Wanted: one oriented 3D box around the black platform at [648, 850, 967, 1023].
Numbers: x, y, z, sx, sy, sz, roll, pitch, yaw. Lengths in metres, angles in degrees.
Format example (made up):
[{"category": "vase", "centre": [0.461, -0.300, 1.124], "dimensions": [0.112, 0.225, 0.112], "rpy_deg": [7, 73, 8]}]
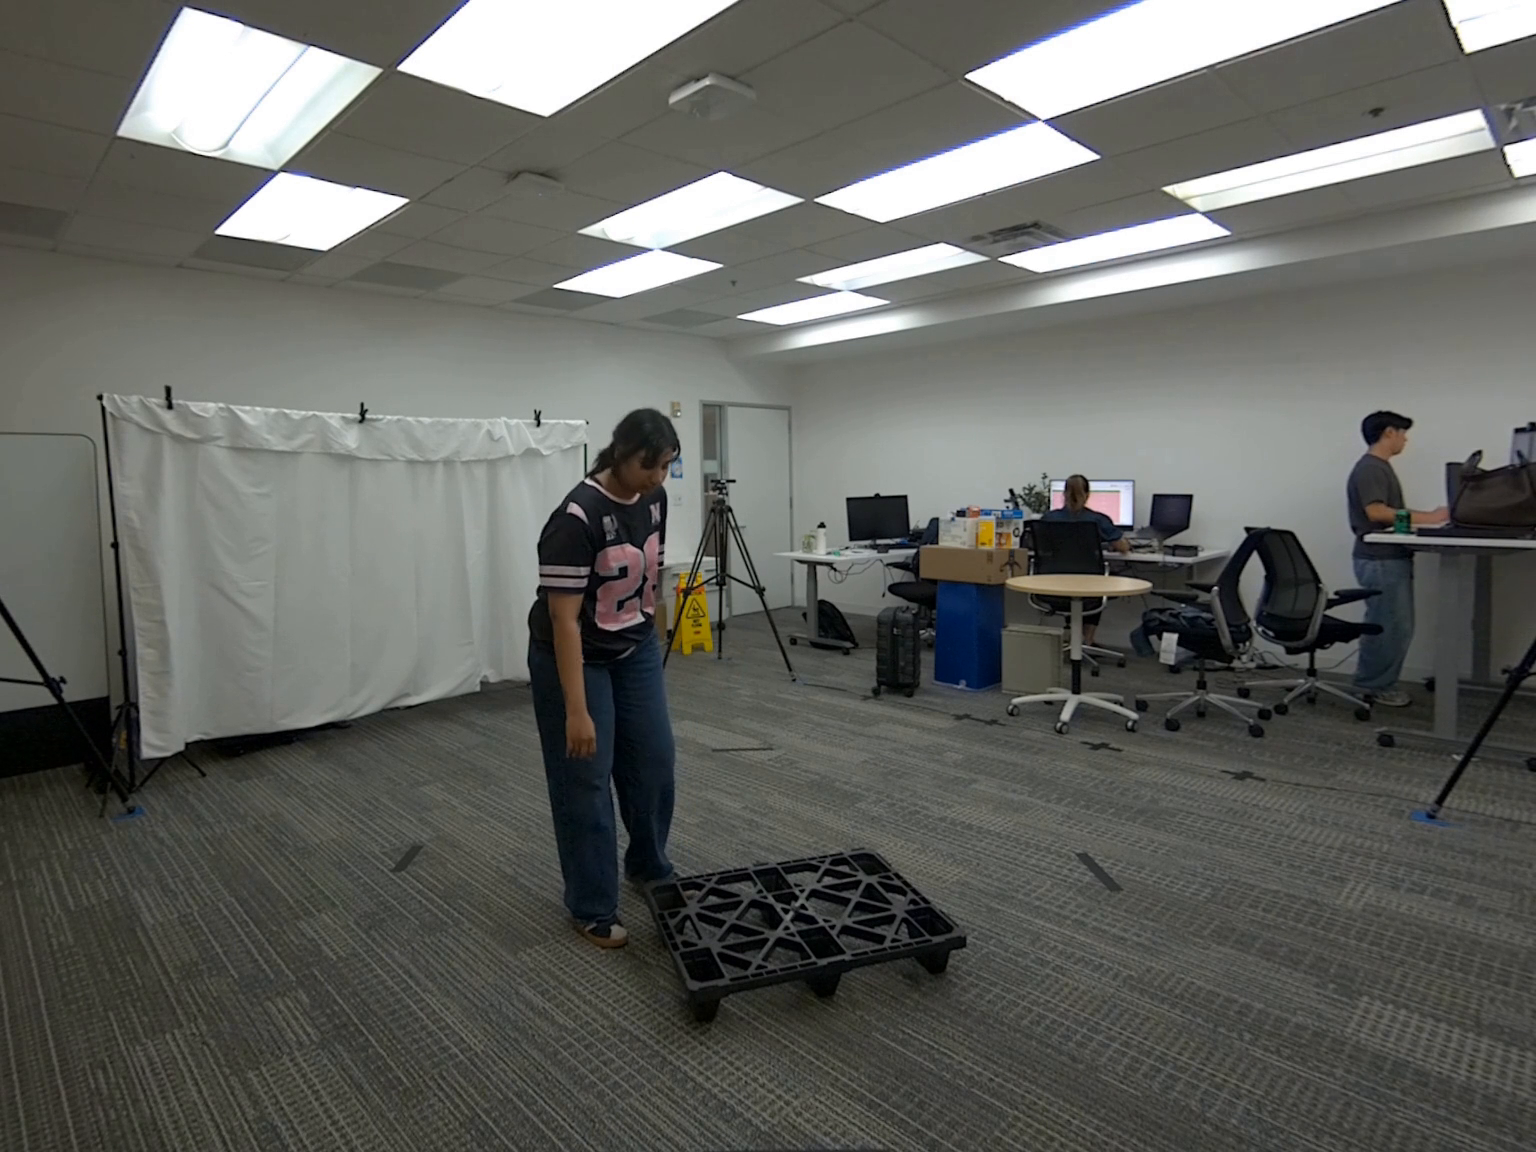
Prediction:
[{"category": "black platform", "centre": [0.088, 1.040, 2.524], "dimensions": [0.793, 0.142, 0.618], "rpy_deg": [-4, 8, -17]}]
